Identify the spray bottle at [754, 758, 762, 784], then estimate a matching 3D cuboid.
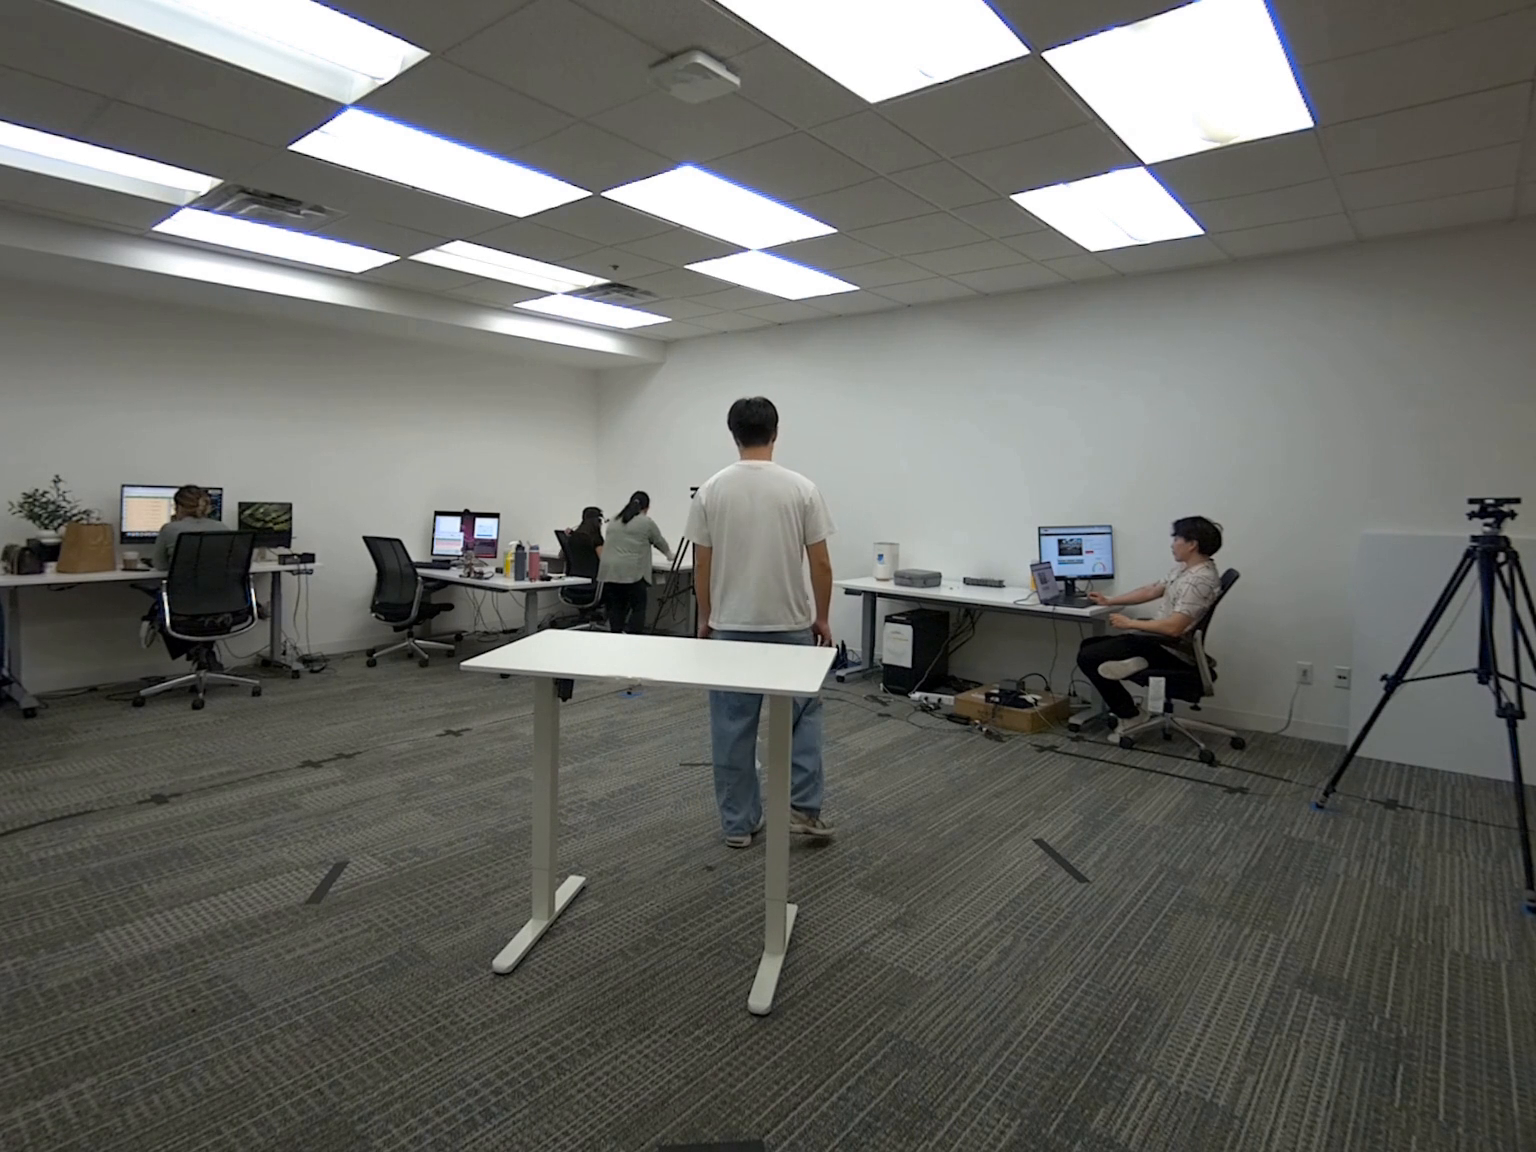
[{"bbox_3d":[-0.086,0.853,3.802,0.092,0.296,0.085,1,3,29],"label":"spray bottle"}]
